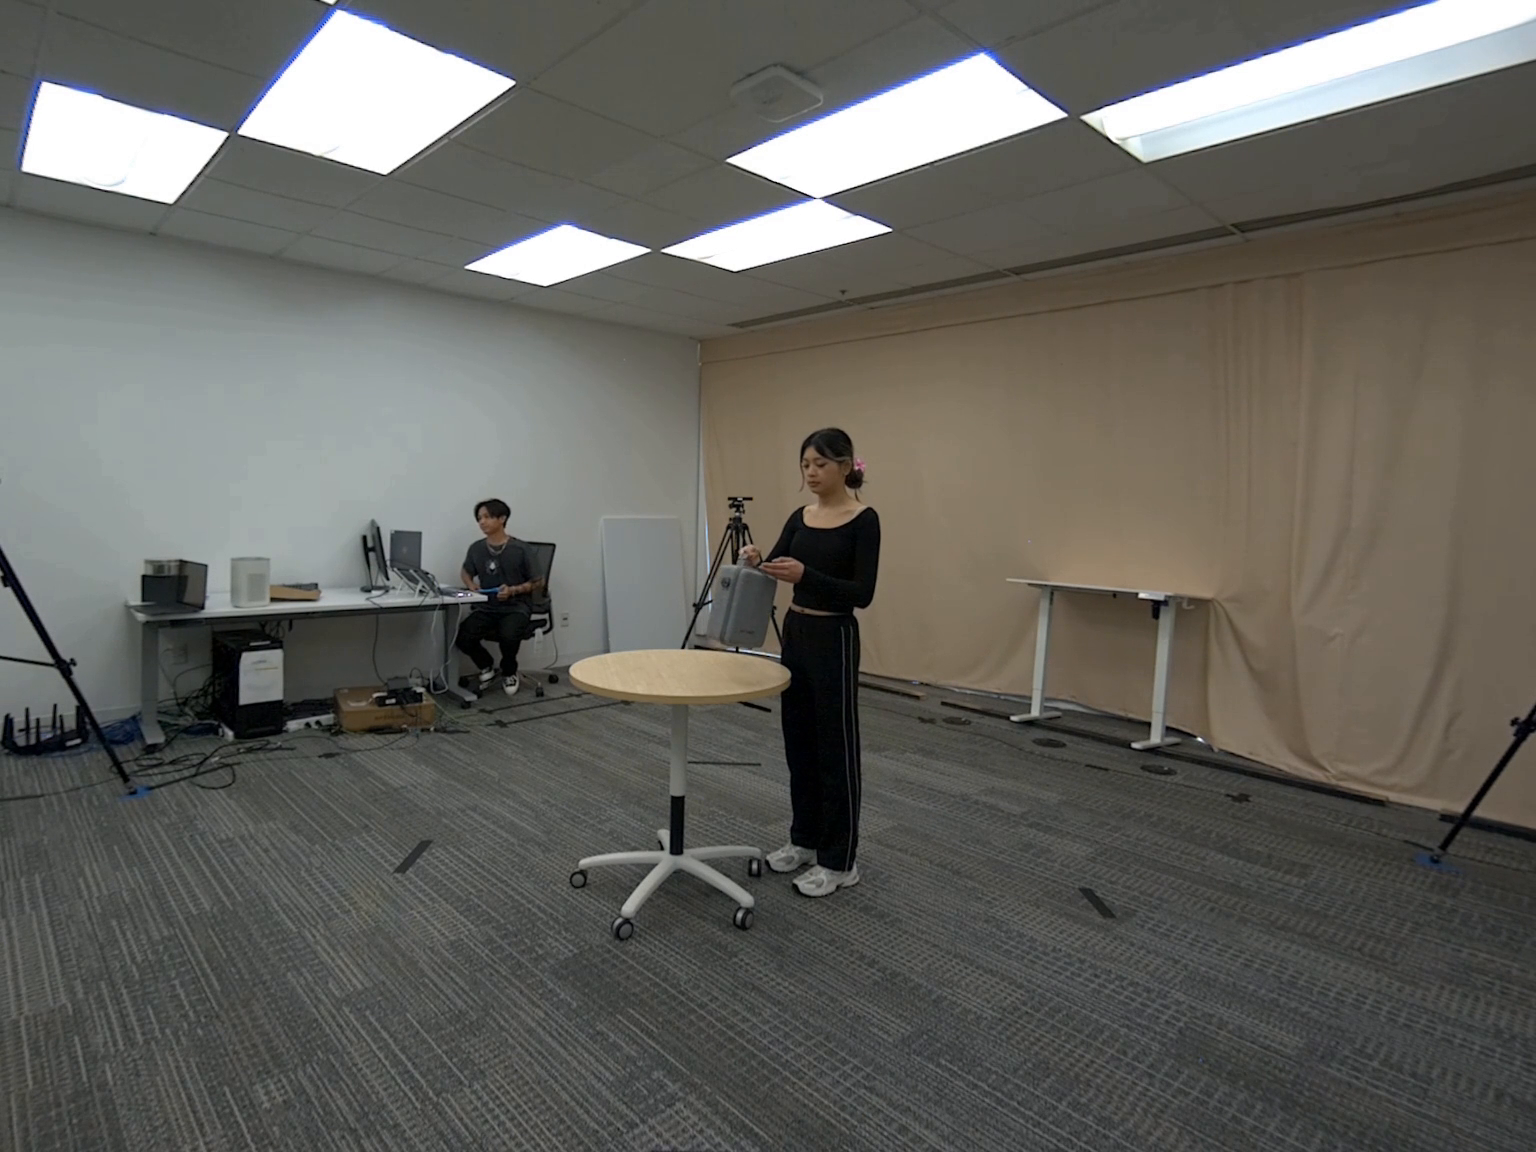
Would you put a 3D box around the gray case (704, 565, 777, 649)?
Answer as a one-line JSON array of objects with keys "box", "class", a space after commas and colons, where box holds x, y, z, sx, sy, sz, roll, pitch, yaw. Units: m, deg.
[{"box": [-0.090, 0.103, 2.758, 0.106, 0.261, 0.250, 9, -6, 26], "class": "gray case"}]
